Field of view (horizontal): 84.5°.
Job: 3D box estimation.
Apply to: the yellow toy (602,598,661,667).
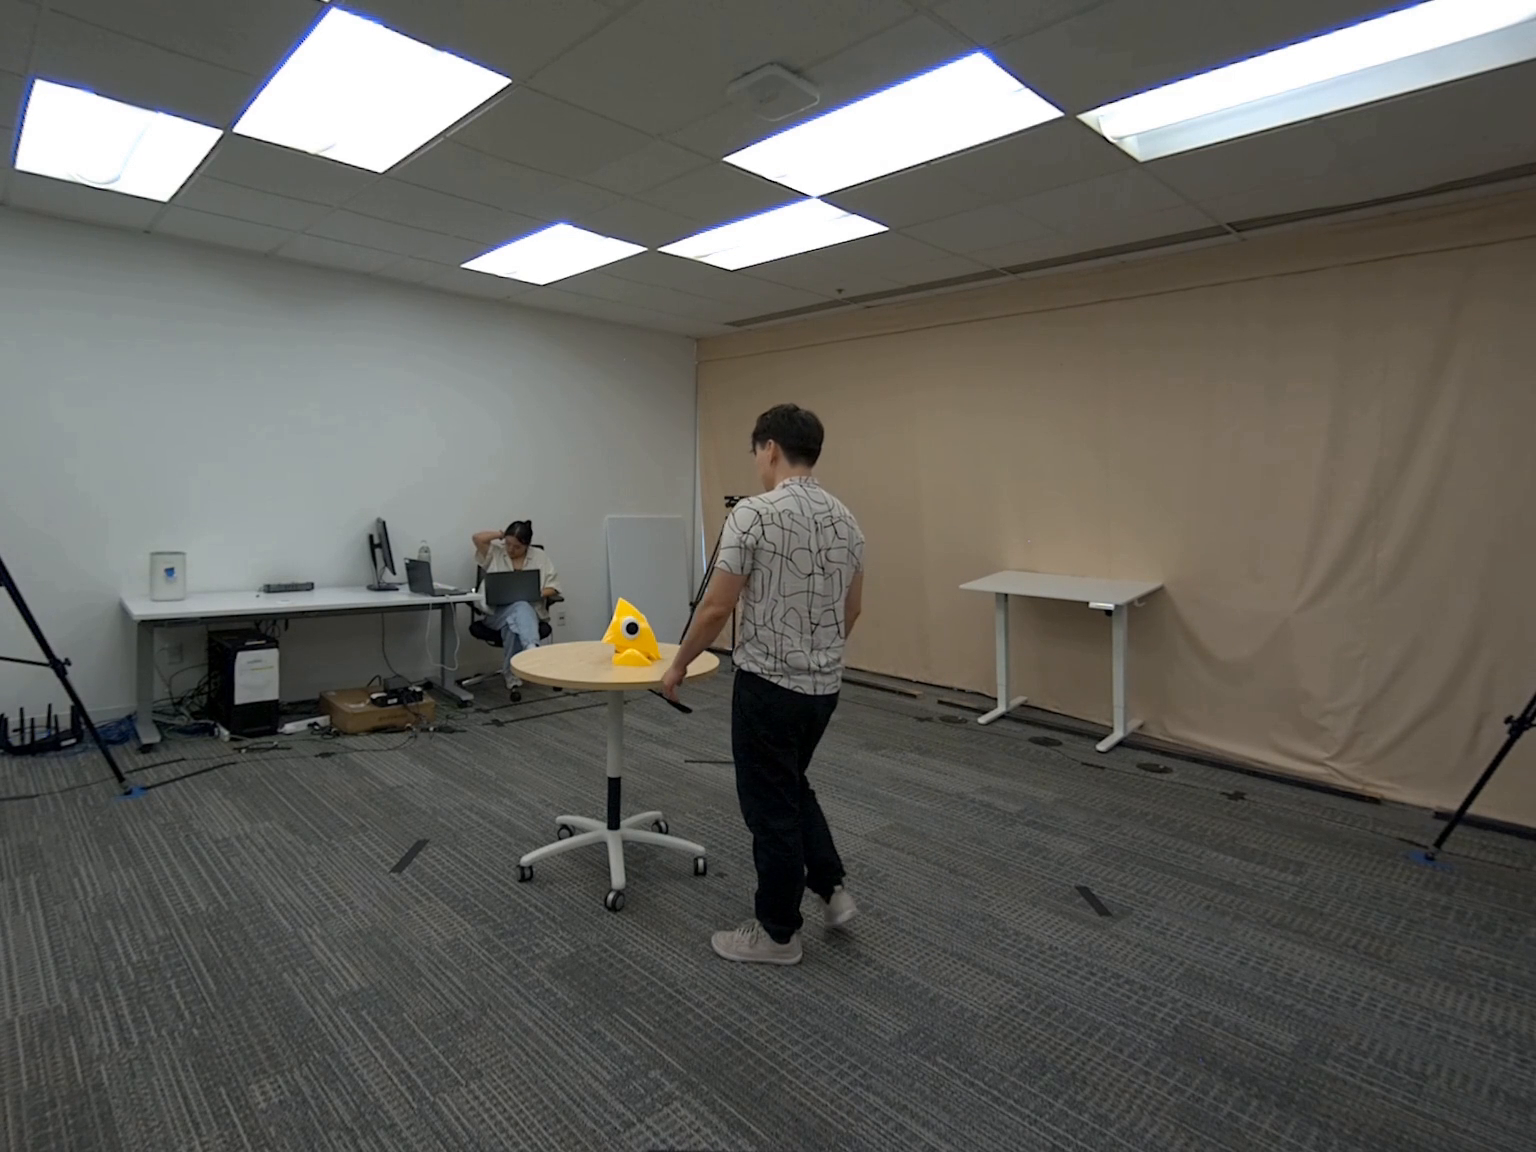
[{"bbox_3d":[-0.503,0.200,3.104,0.195,0.230,0.203,3,4,11],"label":"yellow toy"}]
